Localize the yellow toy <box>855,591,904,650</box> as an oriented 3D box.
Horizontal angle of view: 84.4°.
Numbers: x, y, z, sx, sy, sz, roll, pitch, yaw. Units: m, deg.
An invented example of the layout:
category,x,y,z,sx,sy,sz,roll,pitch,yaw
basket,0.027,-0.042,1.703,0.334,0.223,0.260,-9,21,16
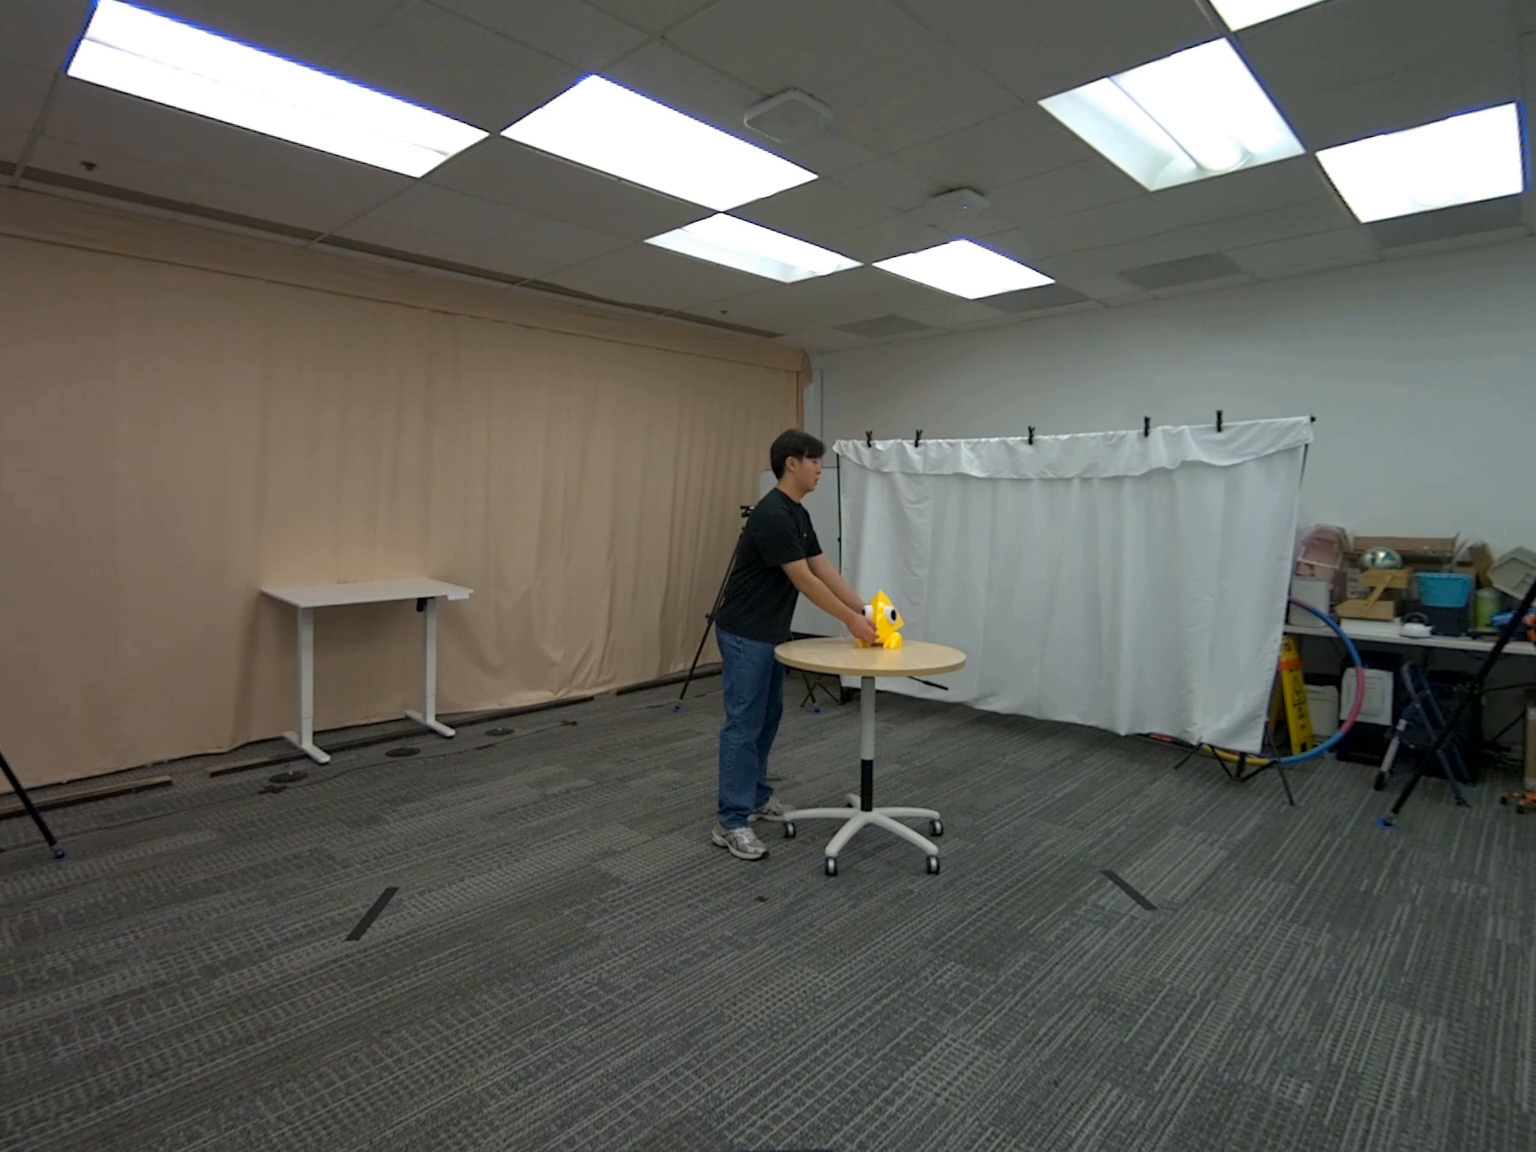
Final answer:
category,x,y,z,sx,sy,sz,roll,pitch,yaw
yellow toy,0.482,0.181,3.615,0.208,0.230,0.190,2,3,16
